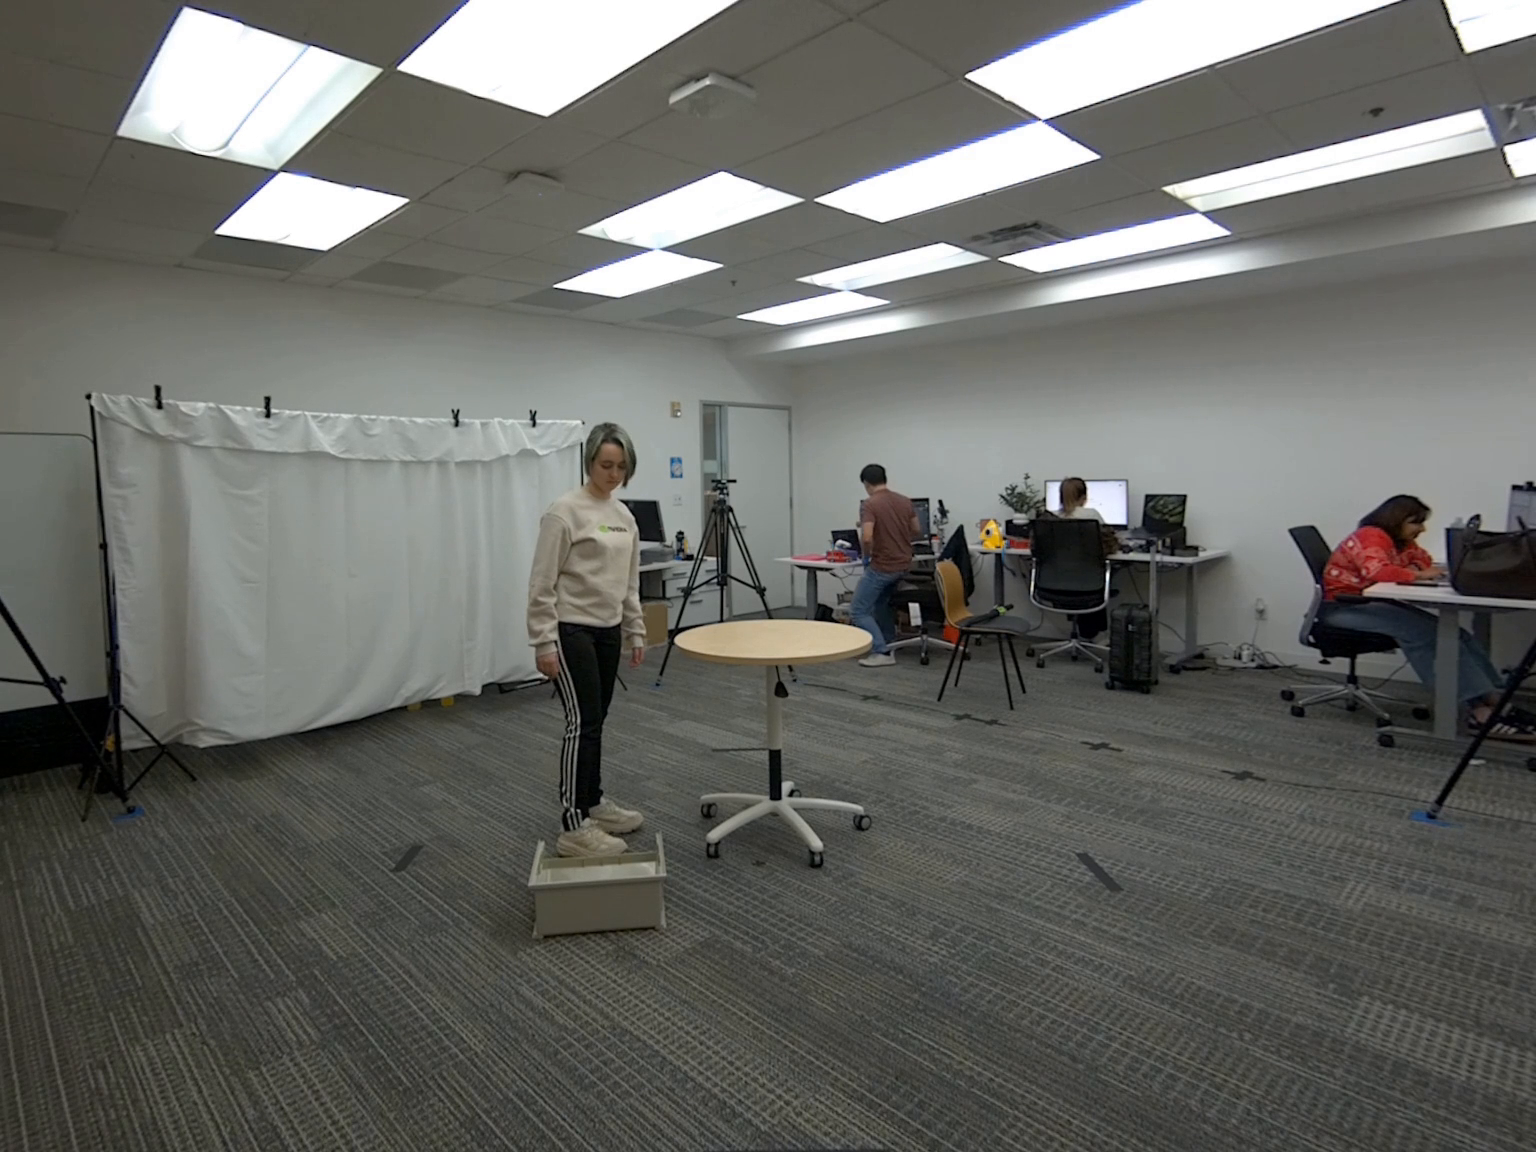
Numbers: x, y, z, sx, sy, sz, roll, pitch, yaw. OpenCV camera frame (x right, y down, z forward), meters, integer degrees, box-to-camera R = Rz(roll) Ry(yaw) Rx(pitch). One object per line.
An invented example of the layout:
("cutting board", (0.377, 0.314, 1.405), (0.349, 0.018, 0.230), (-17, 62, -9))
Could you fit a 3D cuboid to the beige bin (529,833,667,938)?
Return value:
("beige bin", (-0.552, 1.003, 2.813), (0.419, 0.188, 0.382), (-1, 7, -8))
